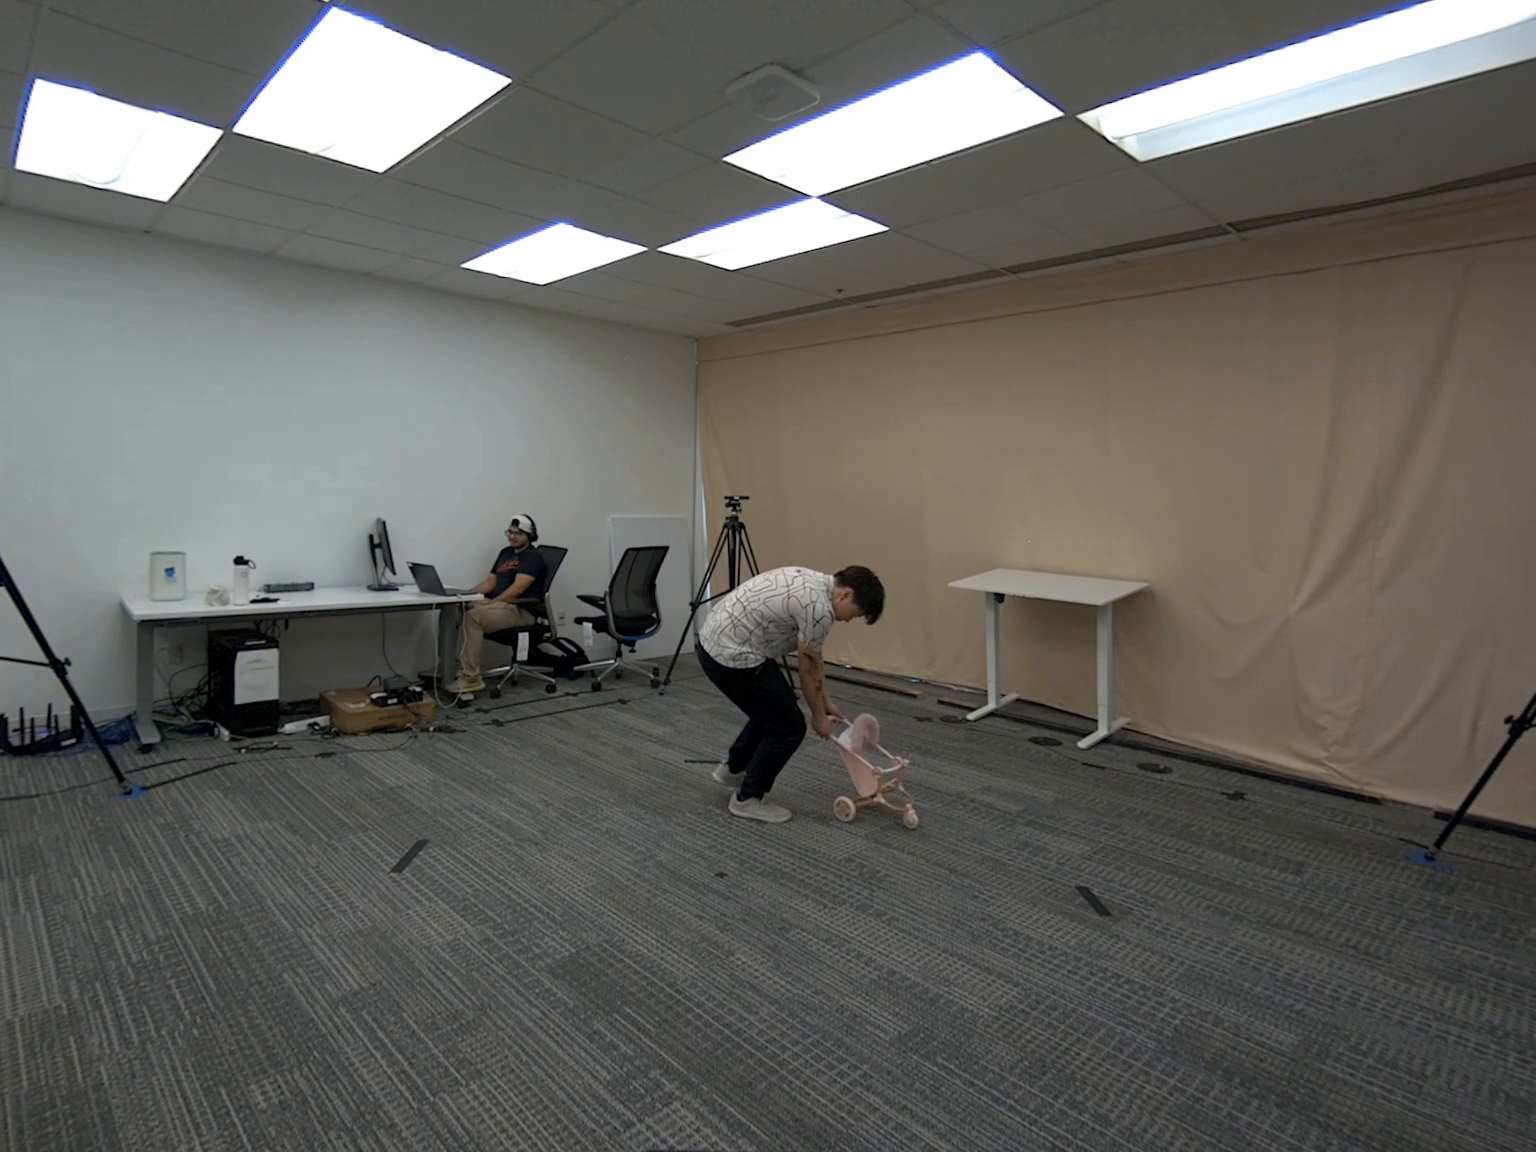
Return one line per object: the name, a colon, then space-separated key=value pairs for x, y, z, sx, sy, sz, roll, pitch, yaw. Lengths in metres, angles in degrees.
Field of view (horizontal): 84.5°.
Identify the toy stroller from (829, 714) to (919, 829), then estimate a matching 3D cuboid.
toy stroller: x=0.438 y=0.843 z=3.713 sx=0.346 sy=0.539 sz=0.275 roll=-21 pitch=-11 yaw=41
